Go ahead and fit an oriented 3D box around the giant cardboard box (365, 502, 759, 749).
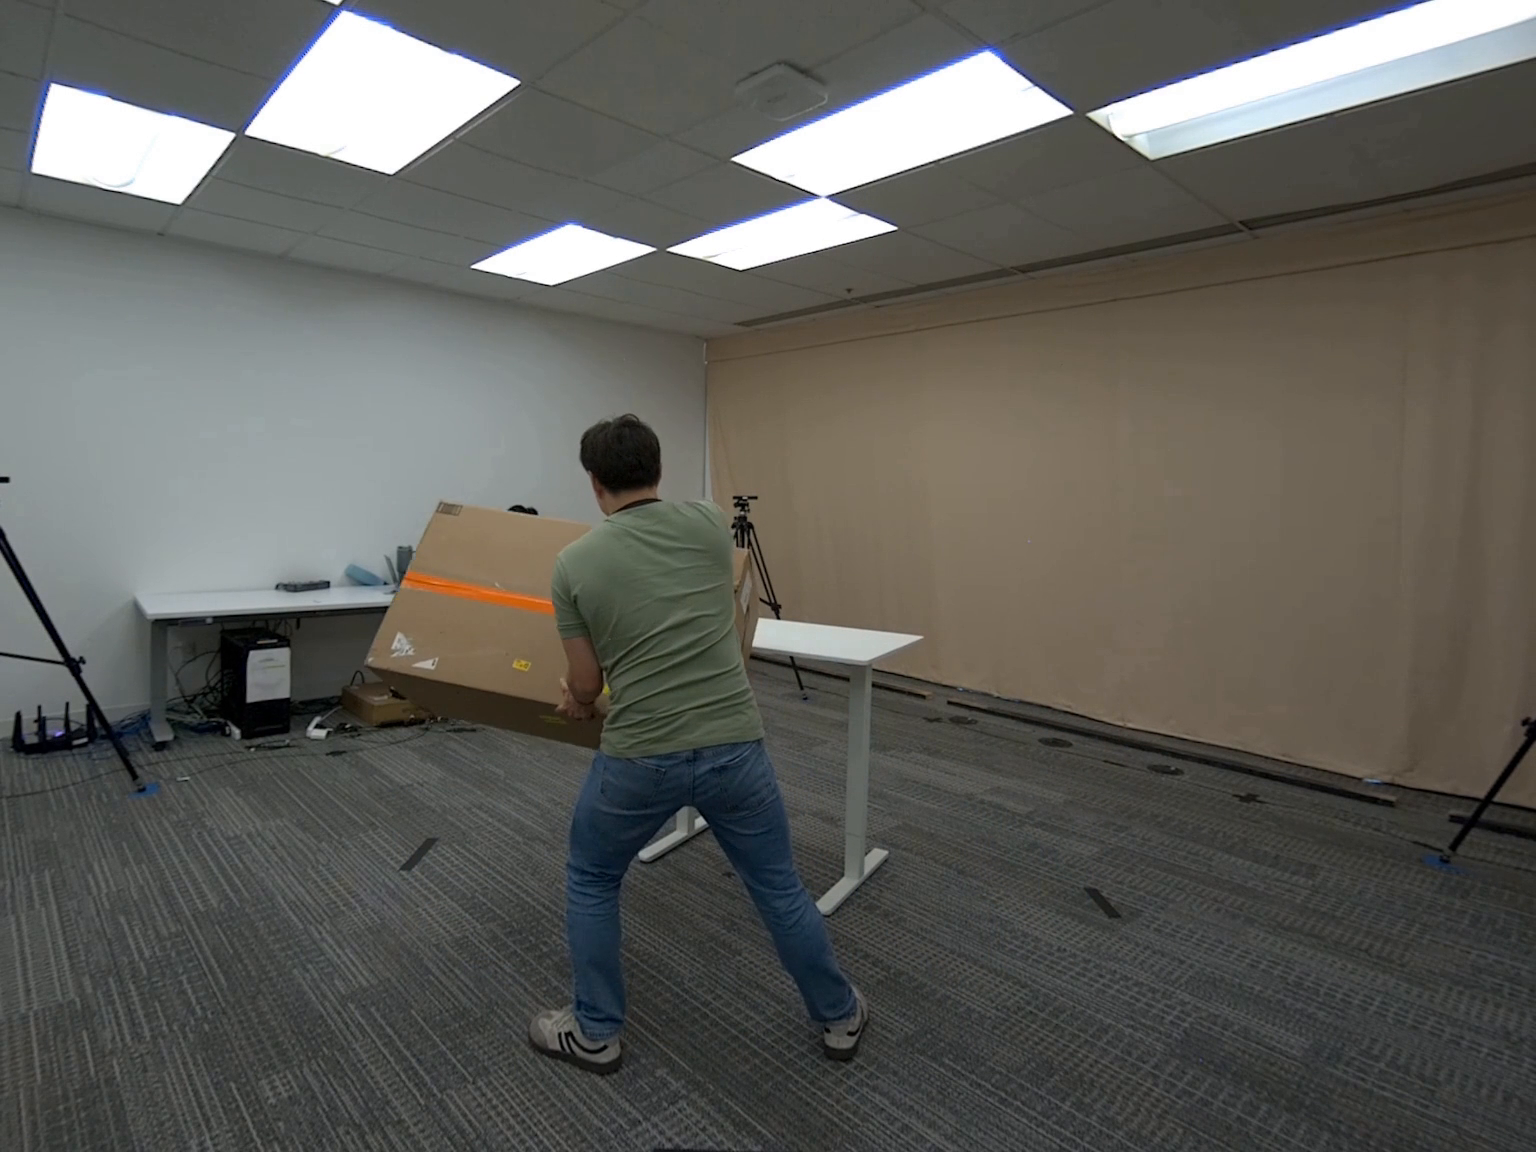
[{"bbox_3d":[-0.600,0.182,2.625,1.037,0.584,0.416,9,-27,11],"label":"giant cardboard box"}]
